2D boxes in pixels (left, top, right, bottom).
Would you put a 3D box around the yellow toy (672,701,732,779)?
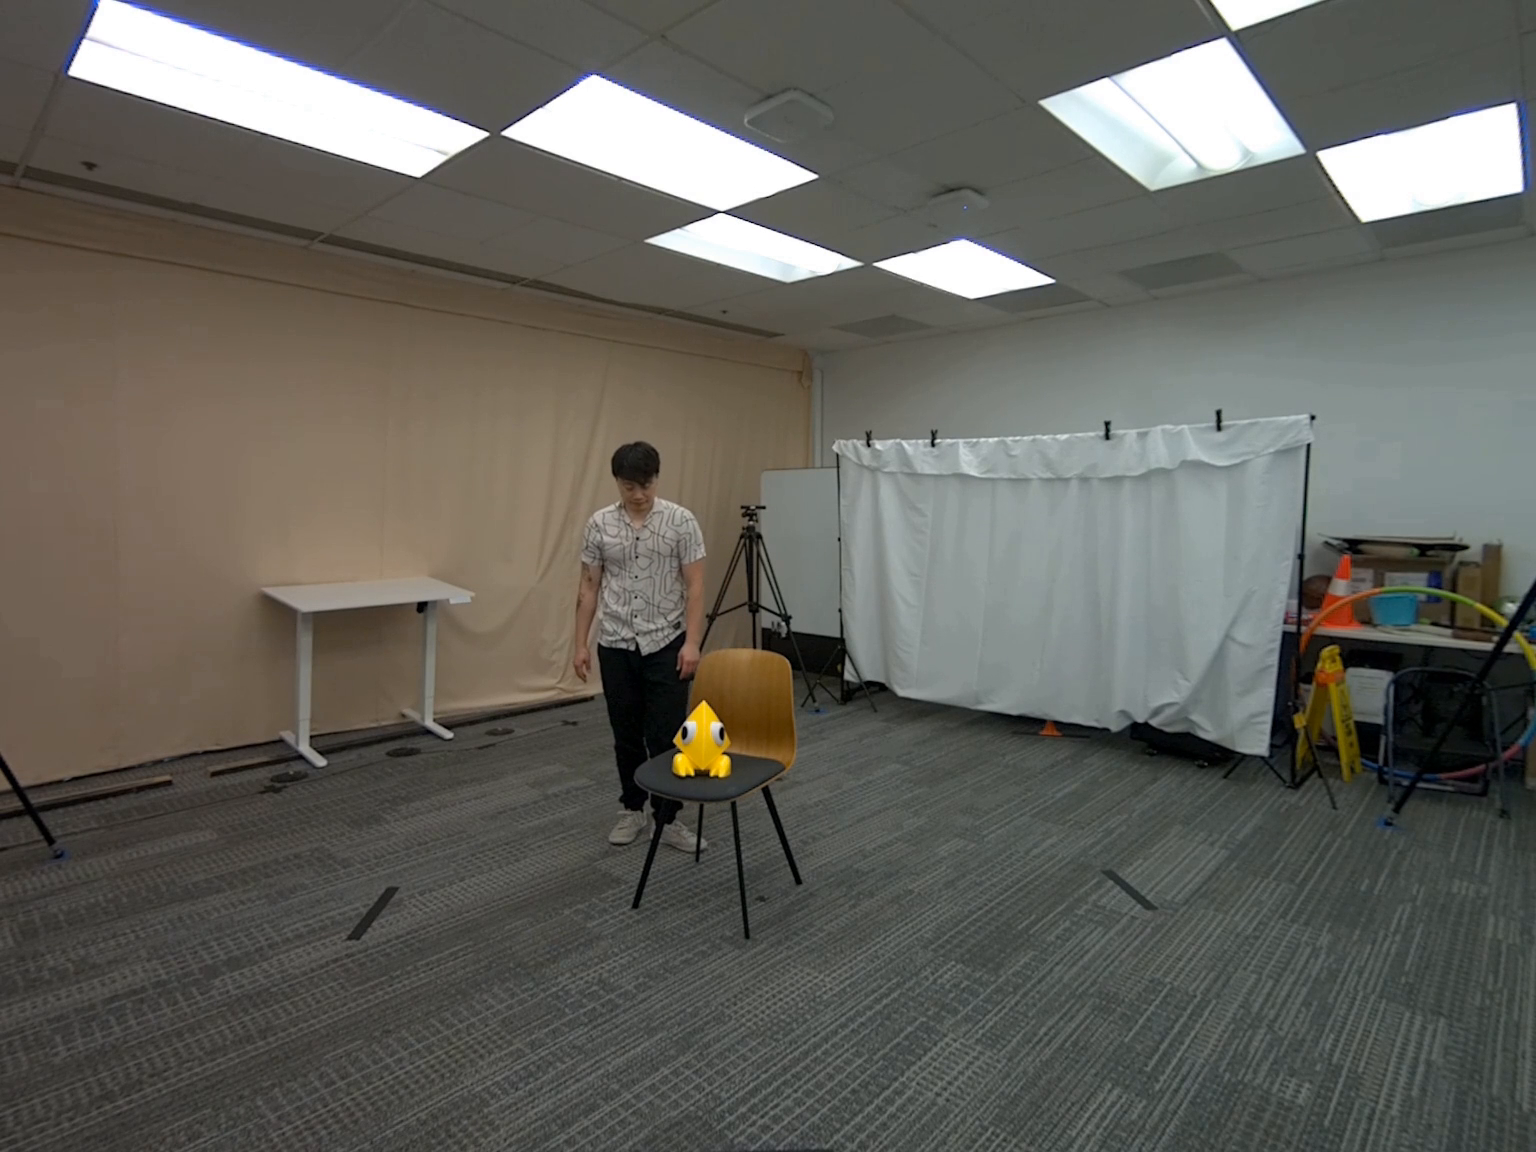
[{"bbox_3d":[-0.221,0.555,2.904,0.204,0.231,0.194,3,-1,-4],"label":"yellow toy"}]
